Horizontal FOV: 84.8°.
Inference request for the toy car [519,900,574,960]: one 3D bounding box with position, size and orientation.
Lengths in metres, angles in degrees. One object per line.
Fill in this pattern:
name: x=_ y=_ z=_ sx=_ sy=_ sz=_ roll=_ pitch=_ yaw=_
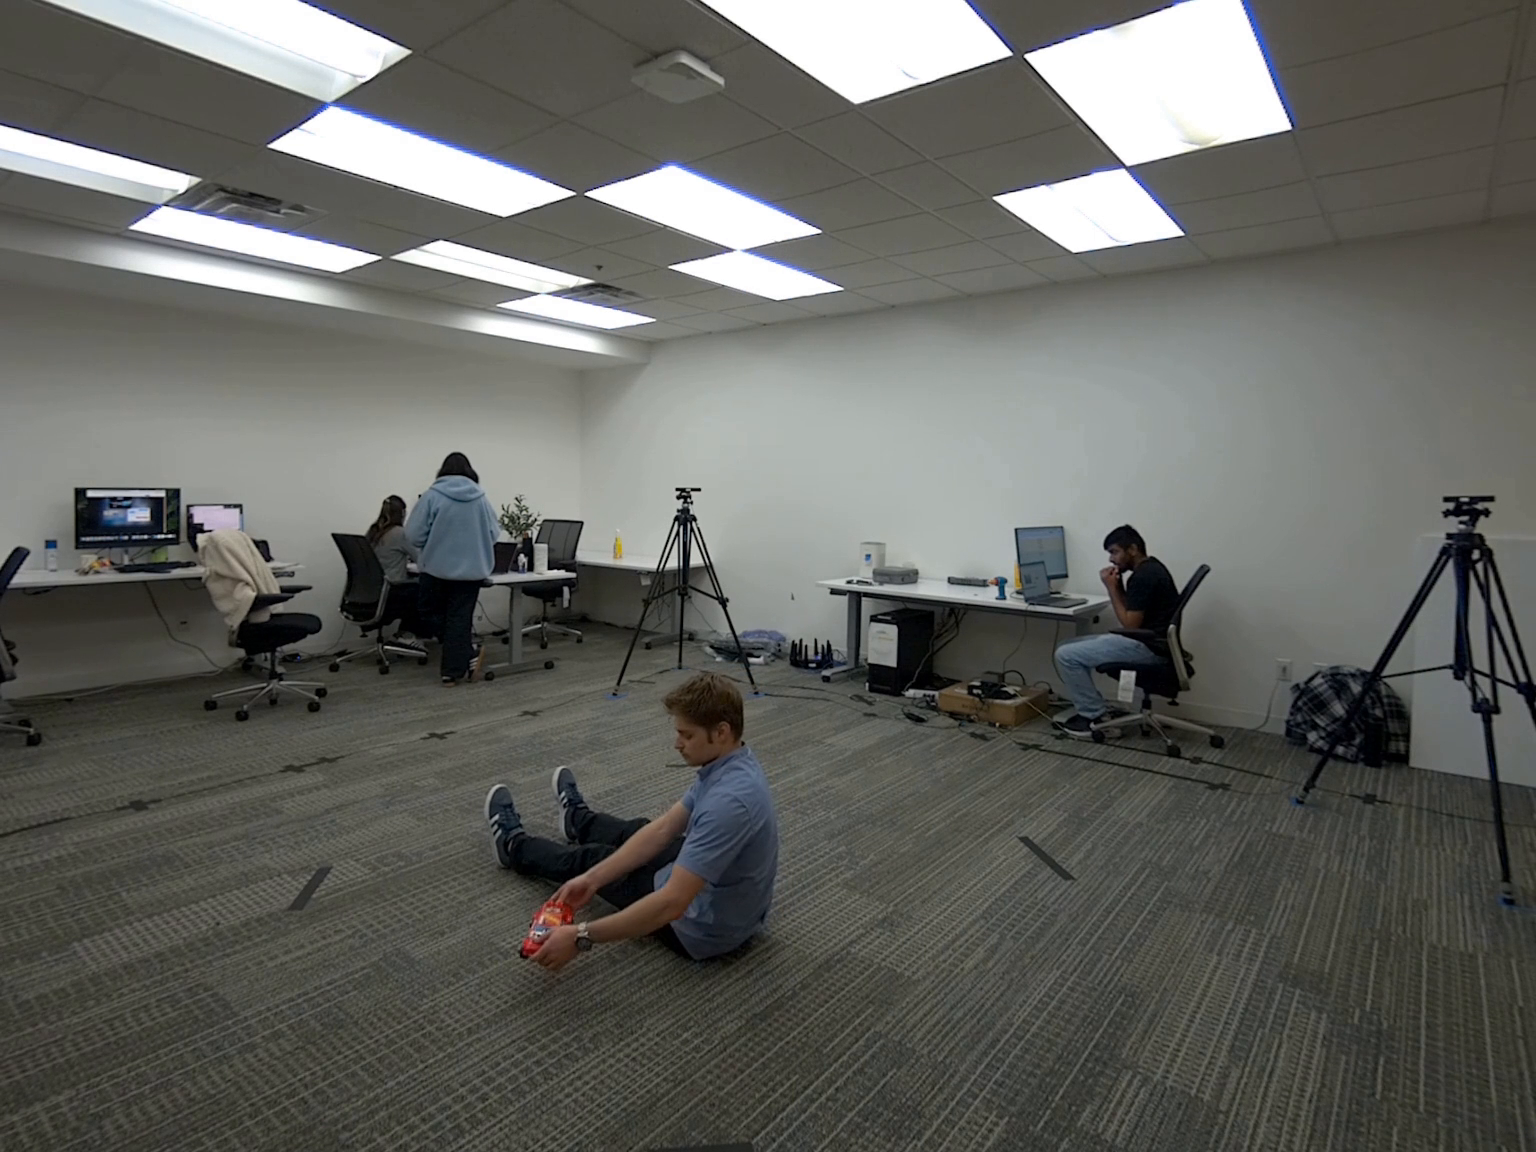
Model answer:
toy car: x=-0.624 y=1.002 z=2.400 sx=0.130 sy=0.082 sz=0.258 roll=3 pitch=14 yaw=-3
